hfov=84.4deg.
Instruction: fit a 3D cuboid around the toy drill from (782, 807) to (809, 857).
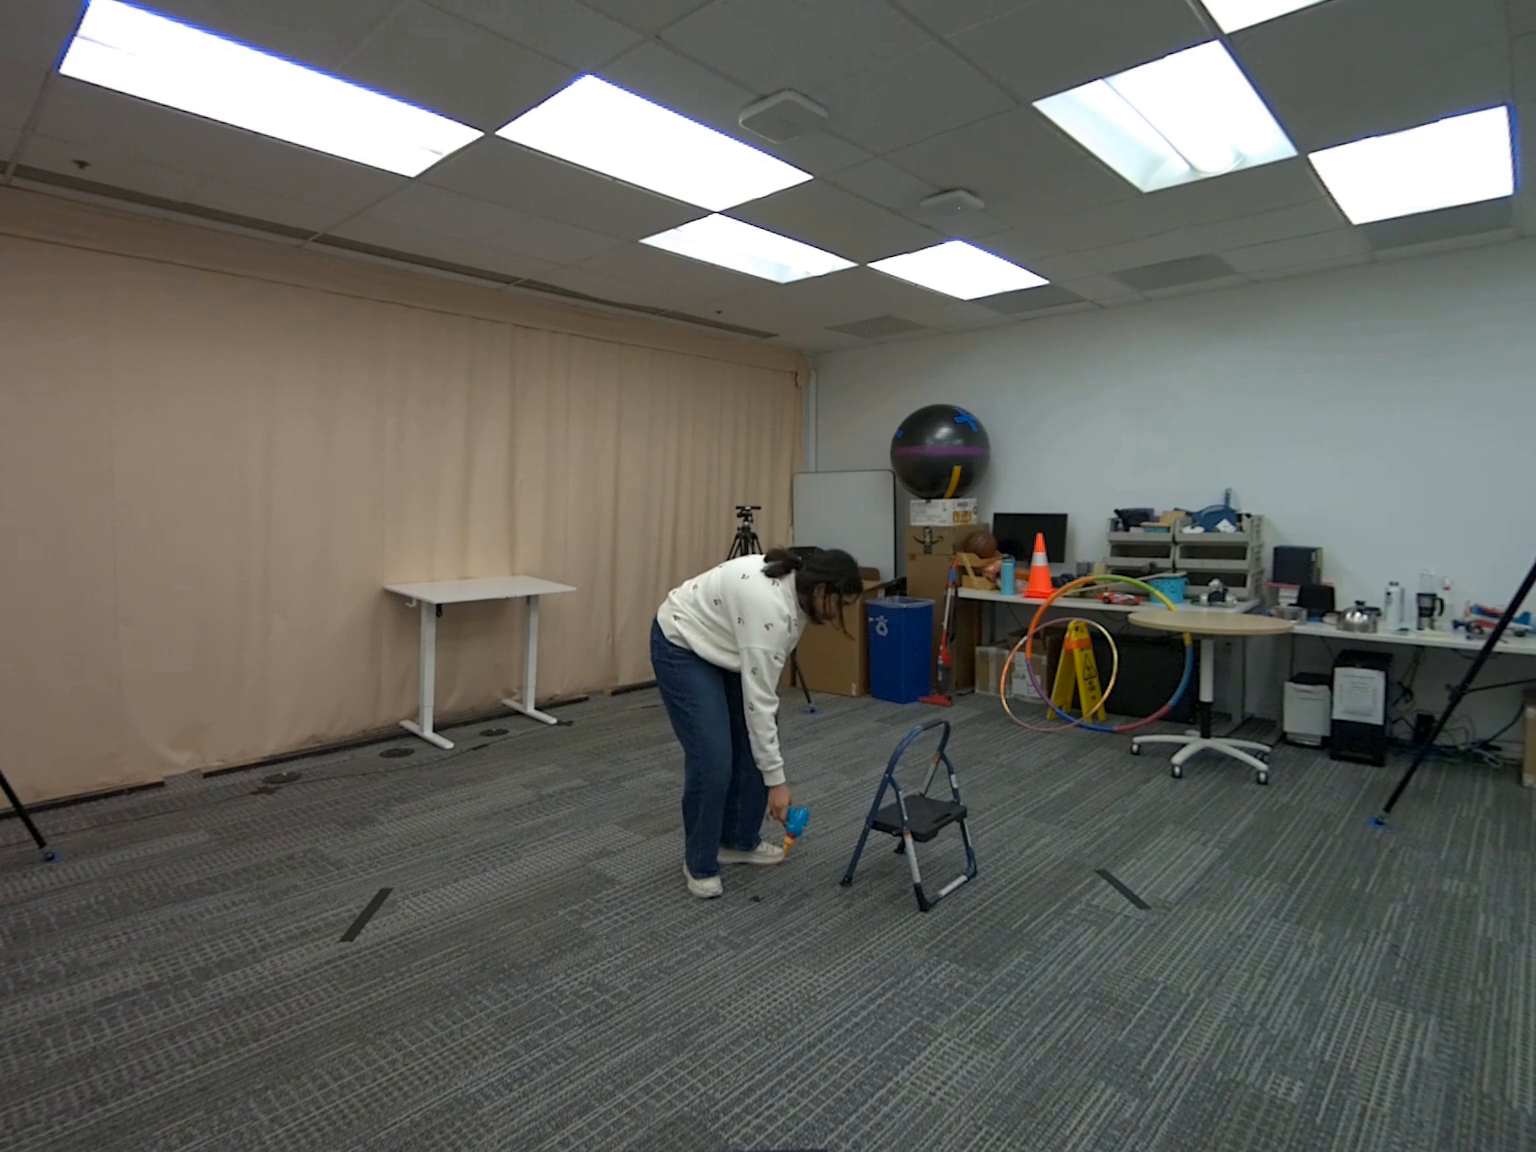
[{"bbox_3d":[0.073,0.846,2.871,0.059,0.170,0.150,31,-8,-28],"label":"toy drill"}]
